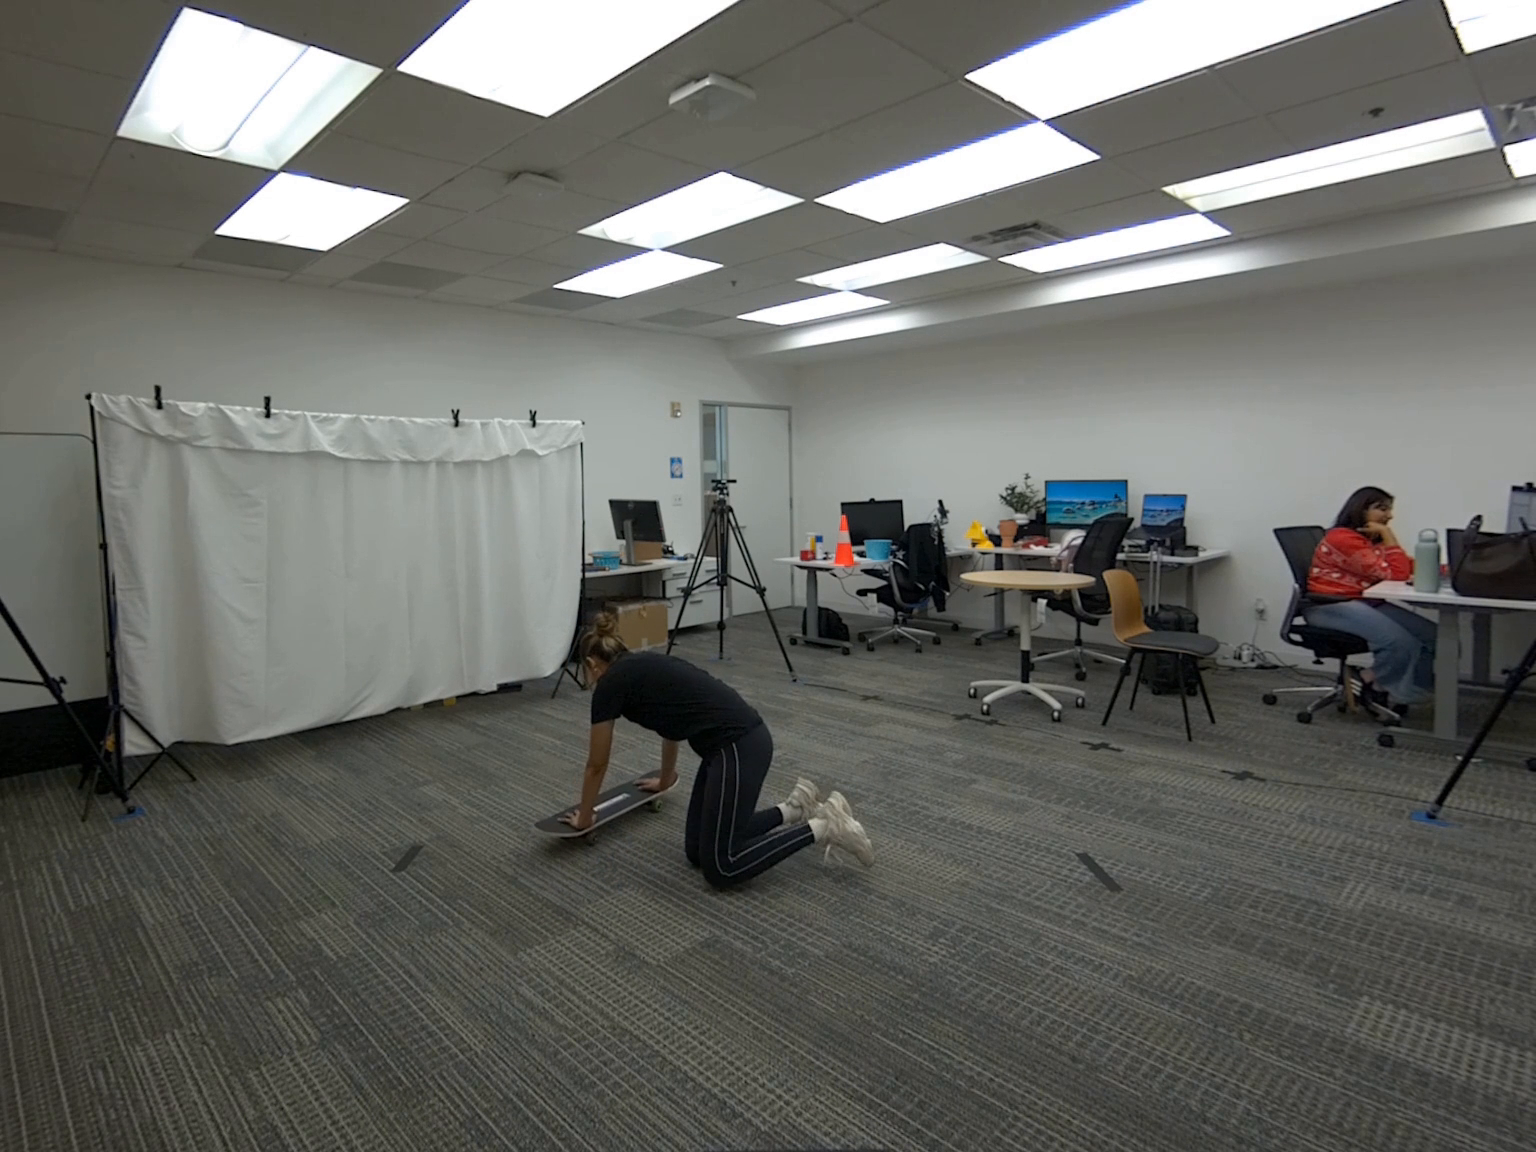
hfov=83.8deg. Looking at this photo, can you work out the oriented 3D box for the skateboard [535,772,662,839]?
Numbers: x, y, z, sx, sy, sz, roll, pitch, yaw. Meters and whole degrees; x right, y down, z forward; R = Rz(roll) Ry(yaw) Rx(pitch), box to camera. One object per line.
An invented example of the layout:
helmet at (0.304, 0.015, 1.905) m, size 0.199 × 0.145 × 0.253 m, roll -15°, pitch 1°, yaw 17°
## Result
skateboard at (-0.639, 0.959, 3.501) m, size 0.199 × 0.110 × 0.767 m, roll 4°, pitch 8°, yaw 32°
